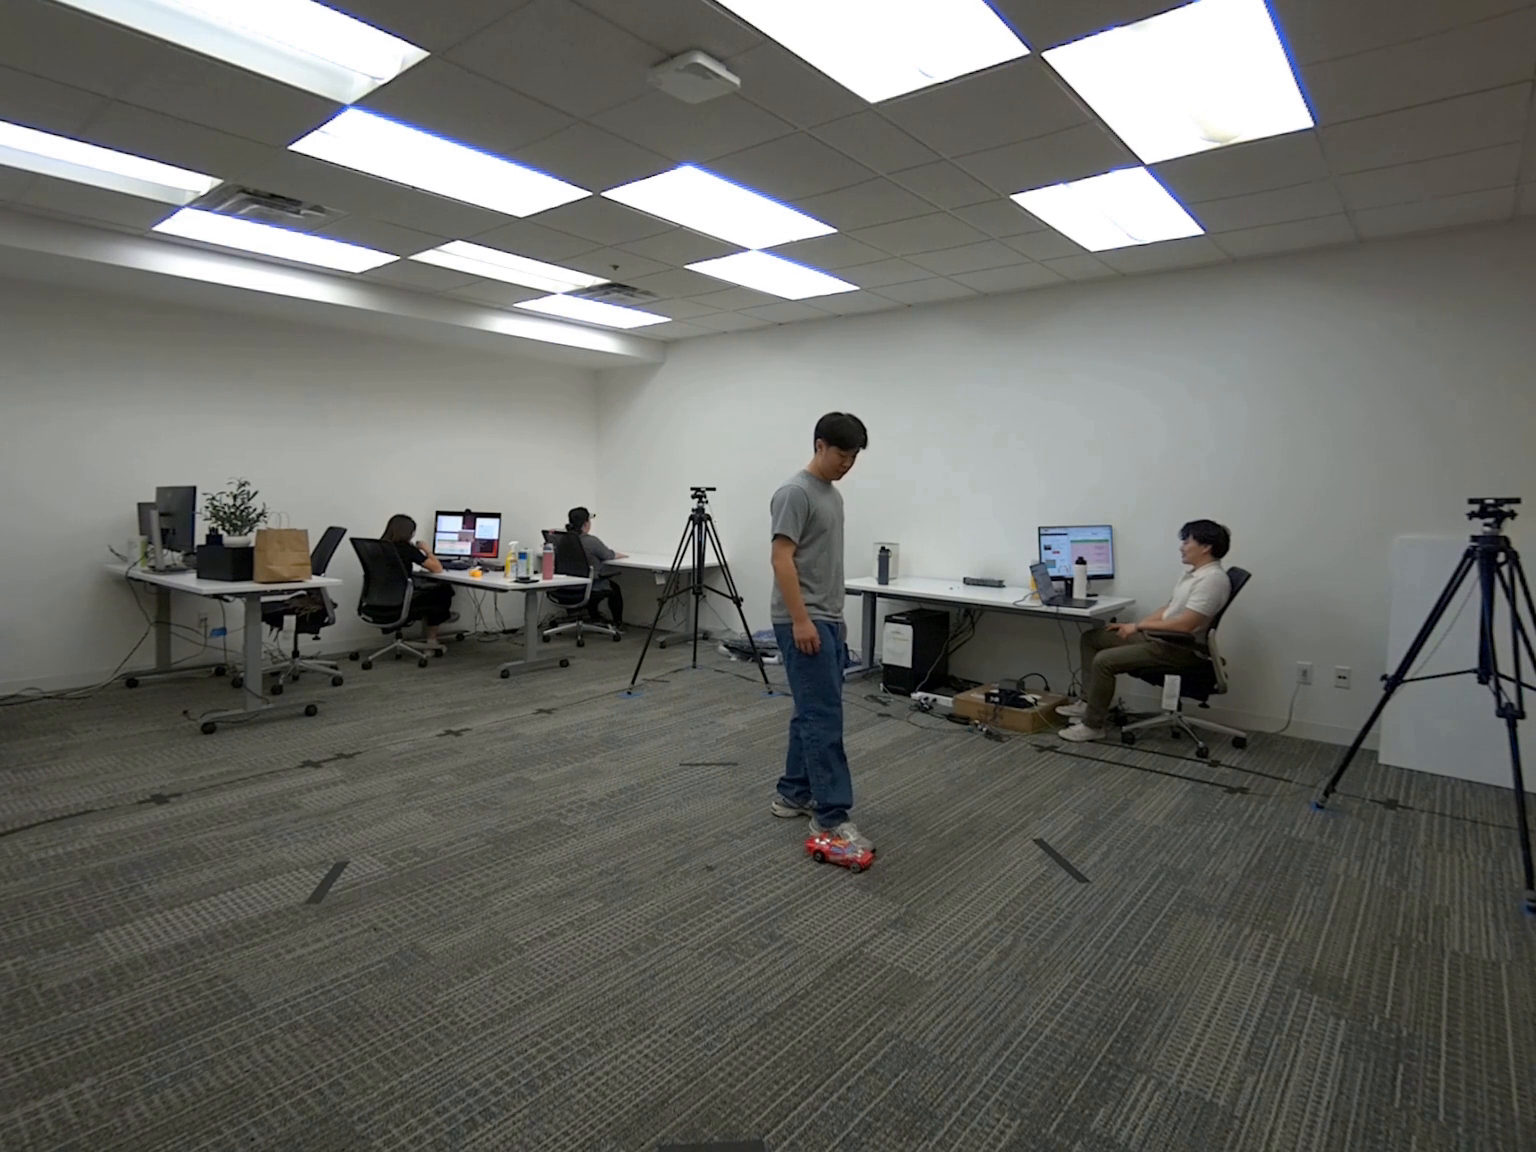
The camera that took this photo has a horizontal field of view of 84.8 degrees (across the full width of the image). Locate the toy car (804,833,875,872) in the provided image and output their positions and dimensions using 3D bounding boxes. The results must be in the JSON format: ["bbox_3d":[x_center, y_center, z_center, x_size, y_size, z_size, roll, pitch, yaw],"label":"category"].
[{"bbox_3d":[0.253,1.036,3.196,0.263,0.082,0.127,16,12,30],"label":"toy car"}]
